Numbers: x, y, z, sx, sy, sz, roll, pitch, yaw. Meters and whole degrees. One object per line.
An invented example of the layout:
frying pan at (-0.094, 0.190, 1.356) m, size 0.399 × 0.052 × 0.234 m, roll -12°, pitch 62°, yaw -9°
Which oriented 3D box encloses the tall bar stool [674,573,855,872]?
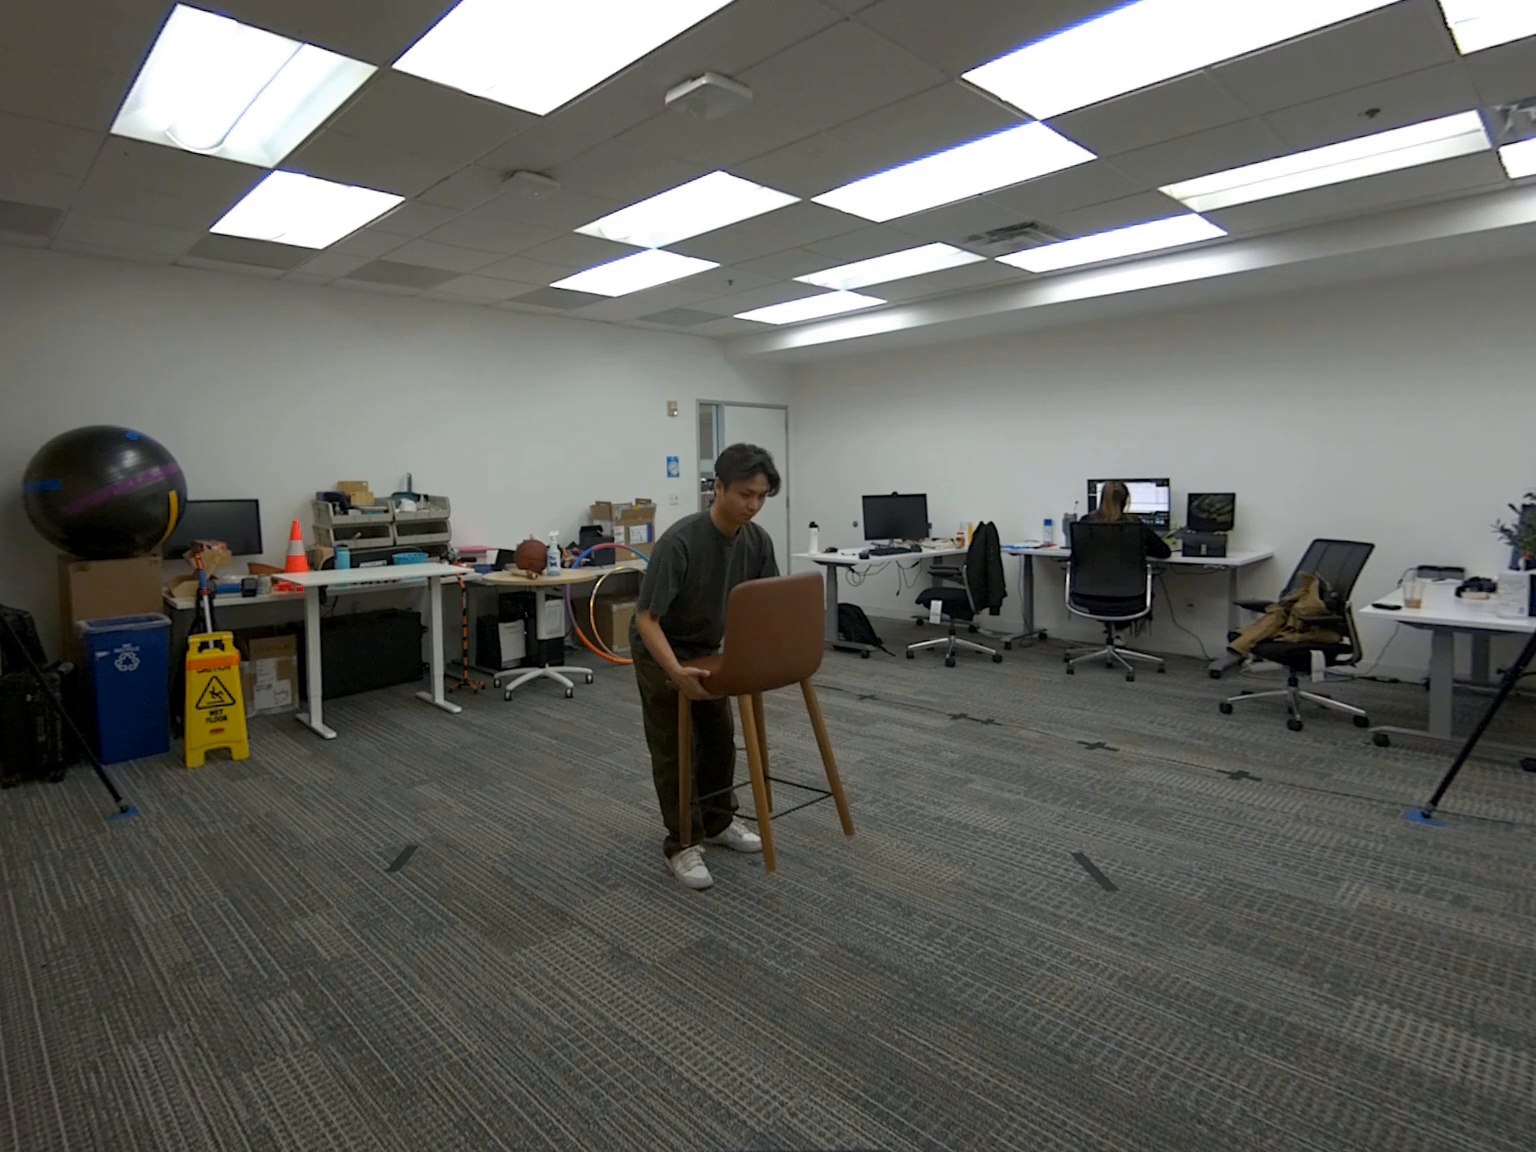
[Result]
tall bar stool at (-0.042, 0.449, 2.849) m, size 0.445 × 0.889 × 0.480 m, roll -7°, pitch 2°, yaw -40°
